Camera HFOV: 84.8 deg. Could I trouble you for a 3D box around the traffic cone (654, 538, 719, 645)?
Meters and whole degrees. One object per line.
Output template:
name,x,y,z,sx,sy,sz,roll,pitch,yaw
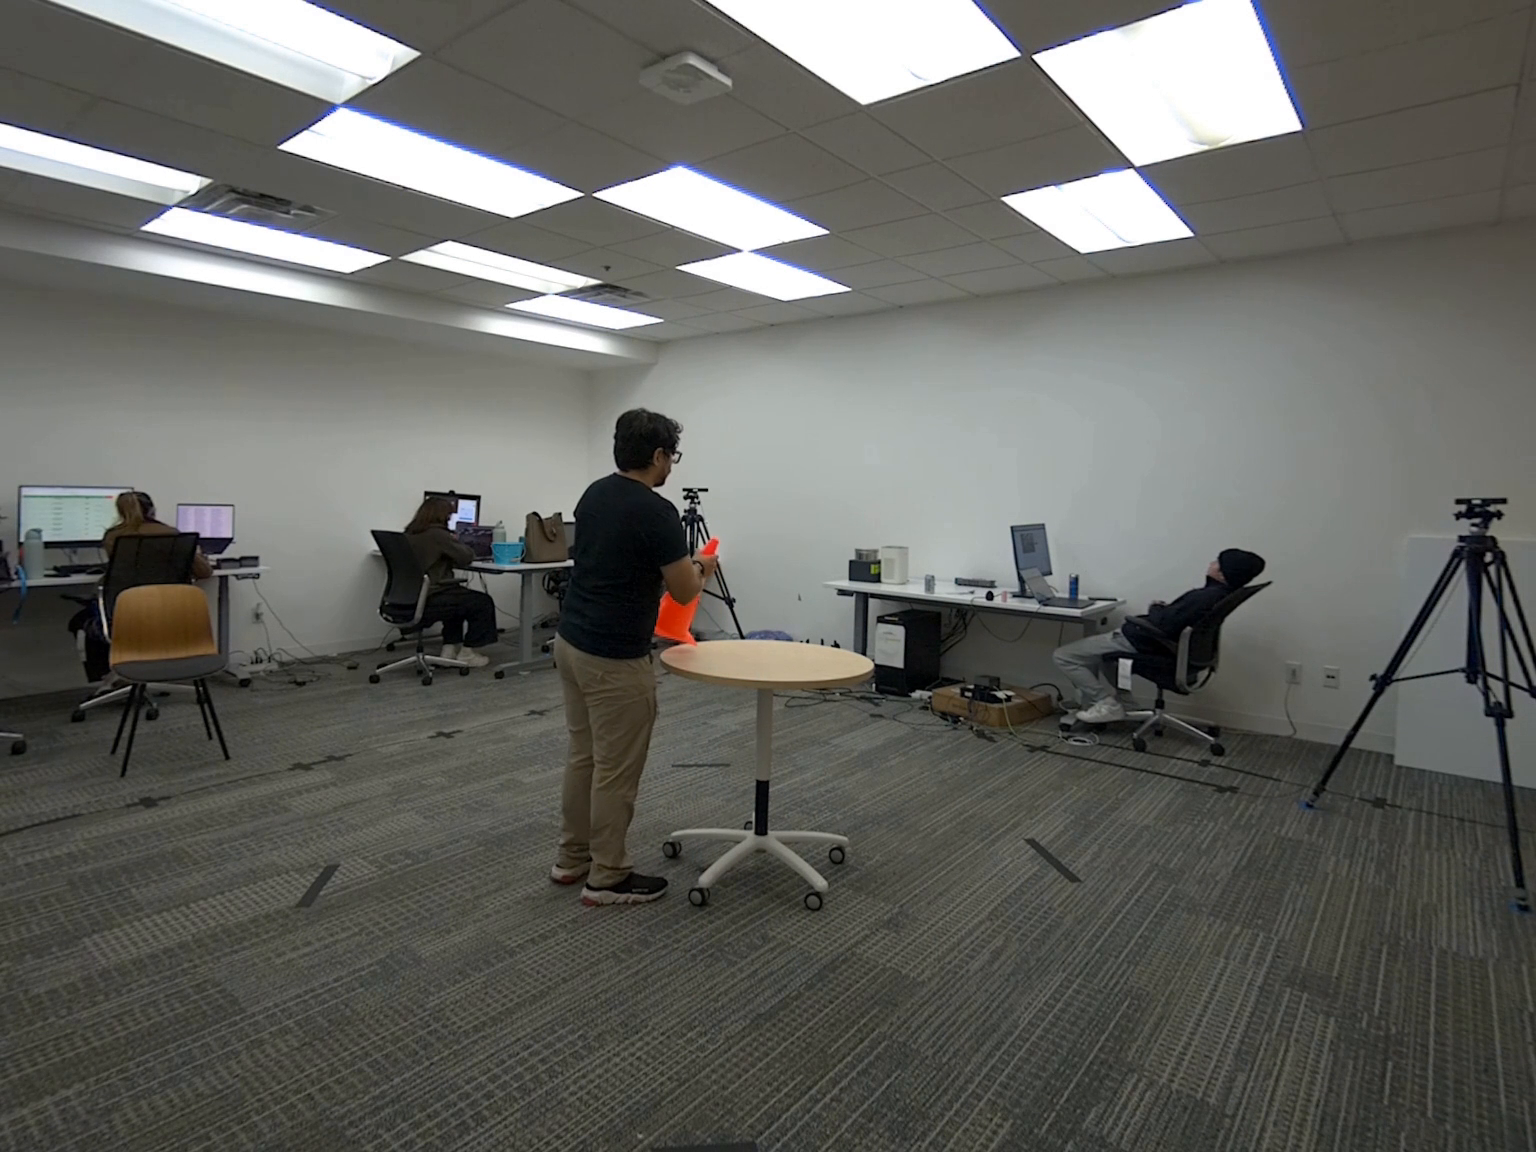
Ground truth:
traffic cone,-0.290,0.031,3.125,0.197,0.382,0.212,20,15,-35
